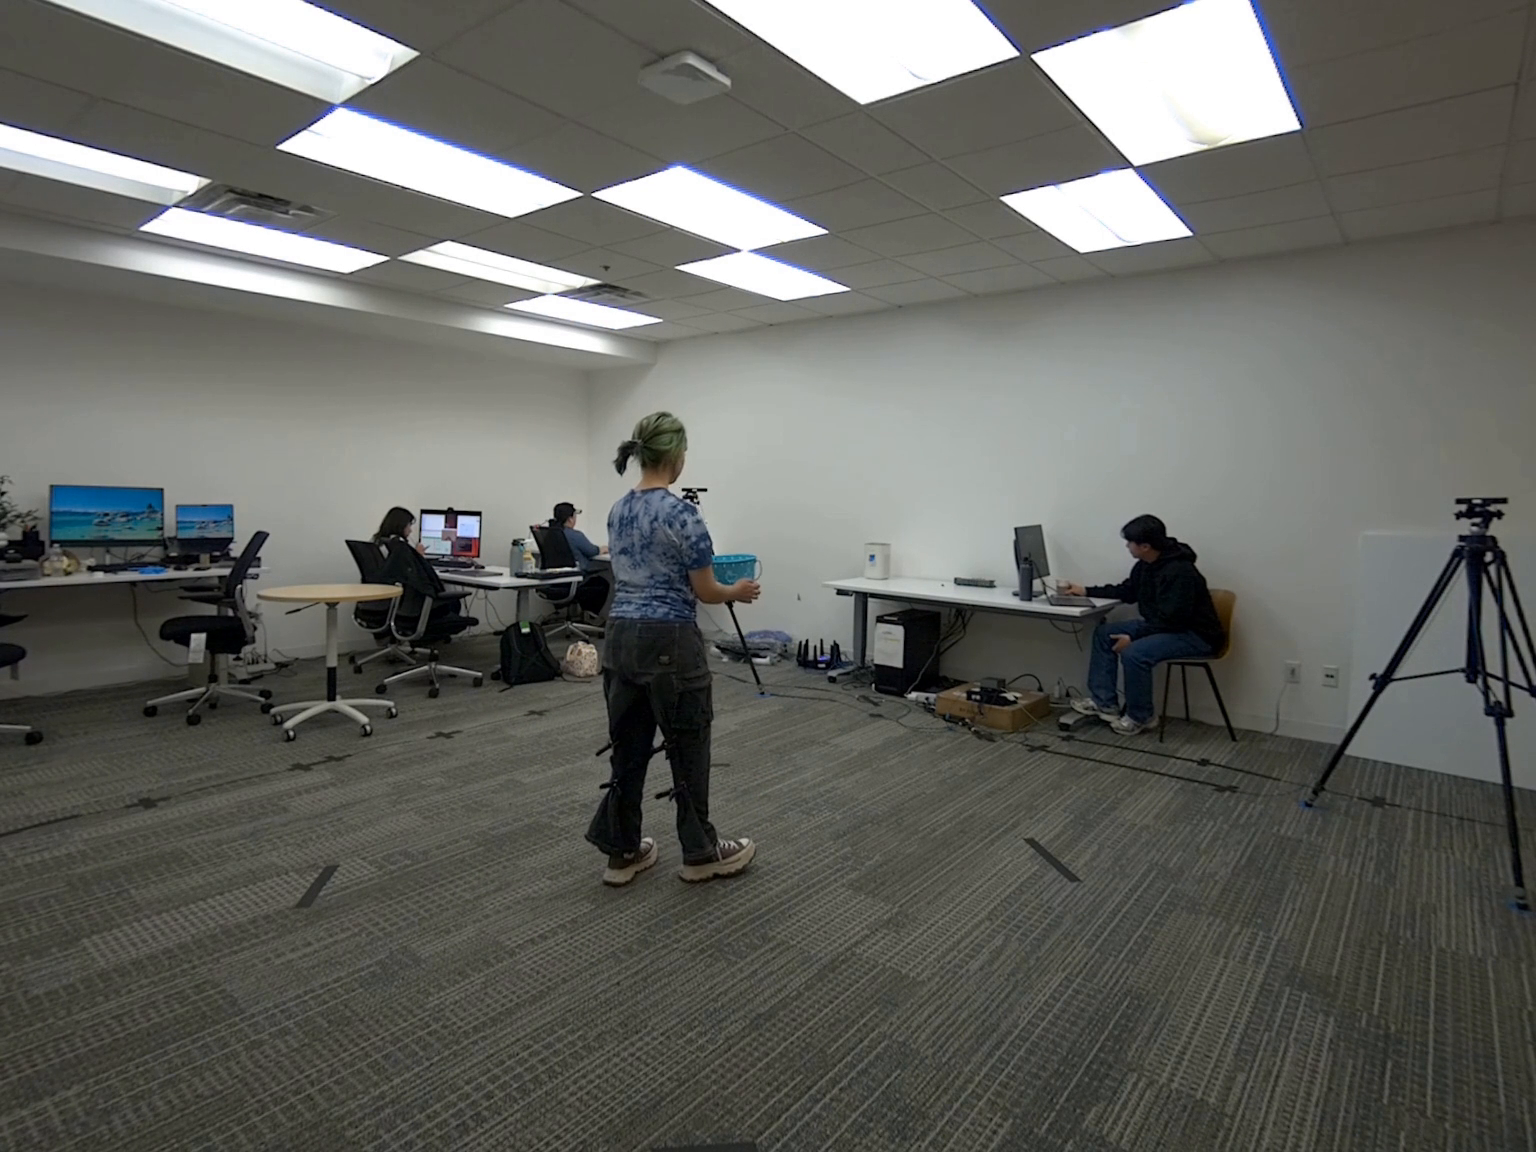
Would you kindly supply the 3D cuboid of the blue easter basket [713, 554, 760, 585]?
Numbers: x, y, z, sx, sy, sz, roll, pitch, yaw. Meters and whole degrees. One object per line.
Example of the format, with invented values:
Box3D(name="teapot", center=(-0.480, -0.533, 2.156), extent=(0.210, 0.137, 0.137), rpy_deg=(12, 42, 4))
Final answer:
Box3D(name="blue easter basket", center=(-0.155, 0.005, 3.298), extent=(0.243, 0.155, 0.245), rpy_deg=(-3, 8, -1))
